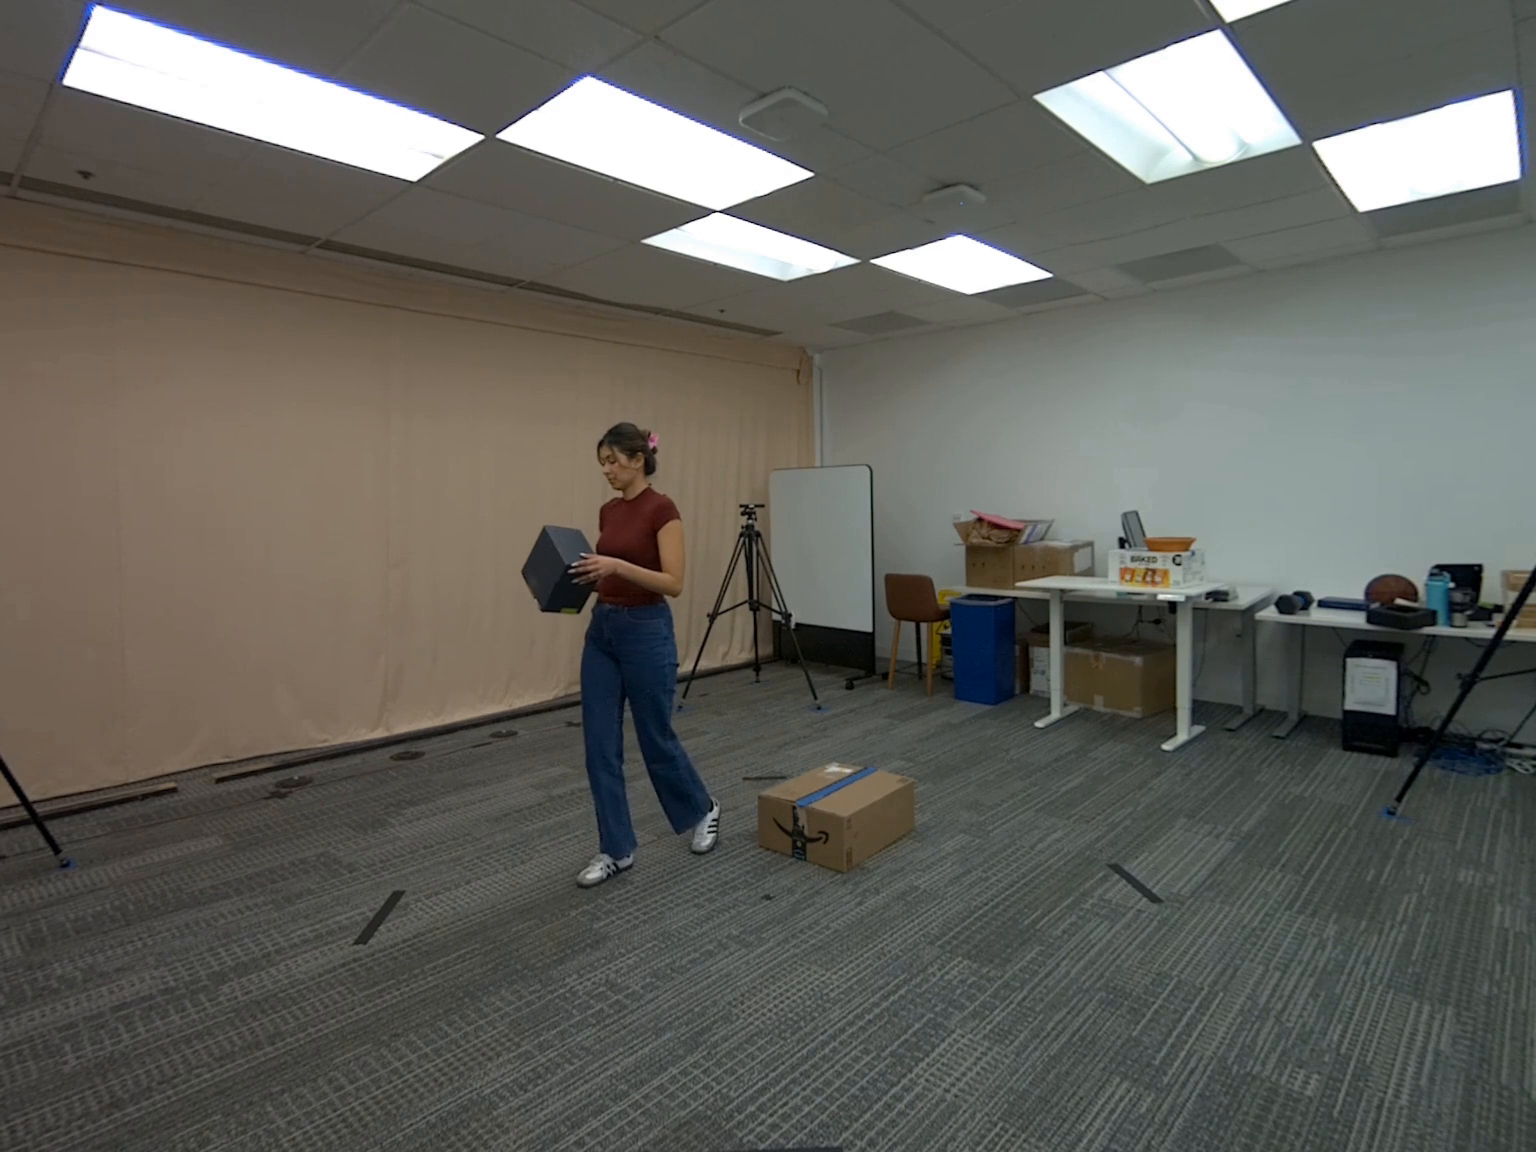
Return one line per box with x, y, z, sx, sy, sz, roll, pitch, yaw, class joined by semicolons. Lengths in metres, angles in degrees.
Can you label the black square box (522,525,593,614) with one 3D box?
-0.720;-0.020;2.994;0.150;0.217;0.235;8;34;-43;black square box
